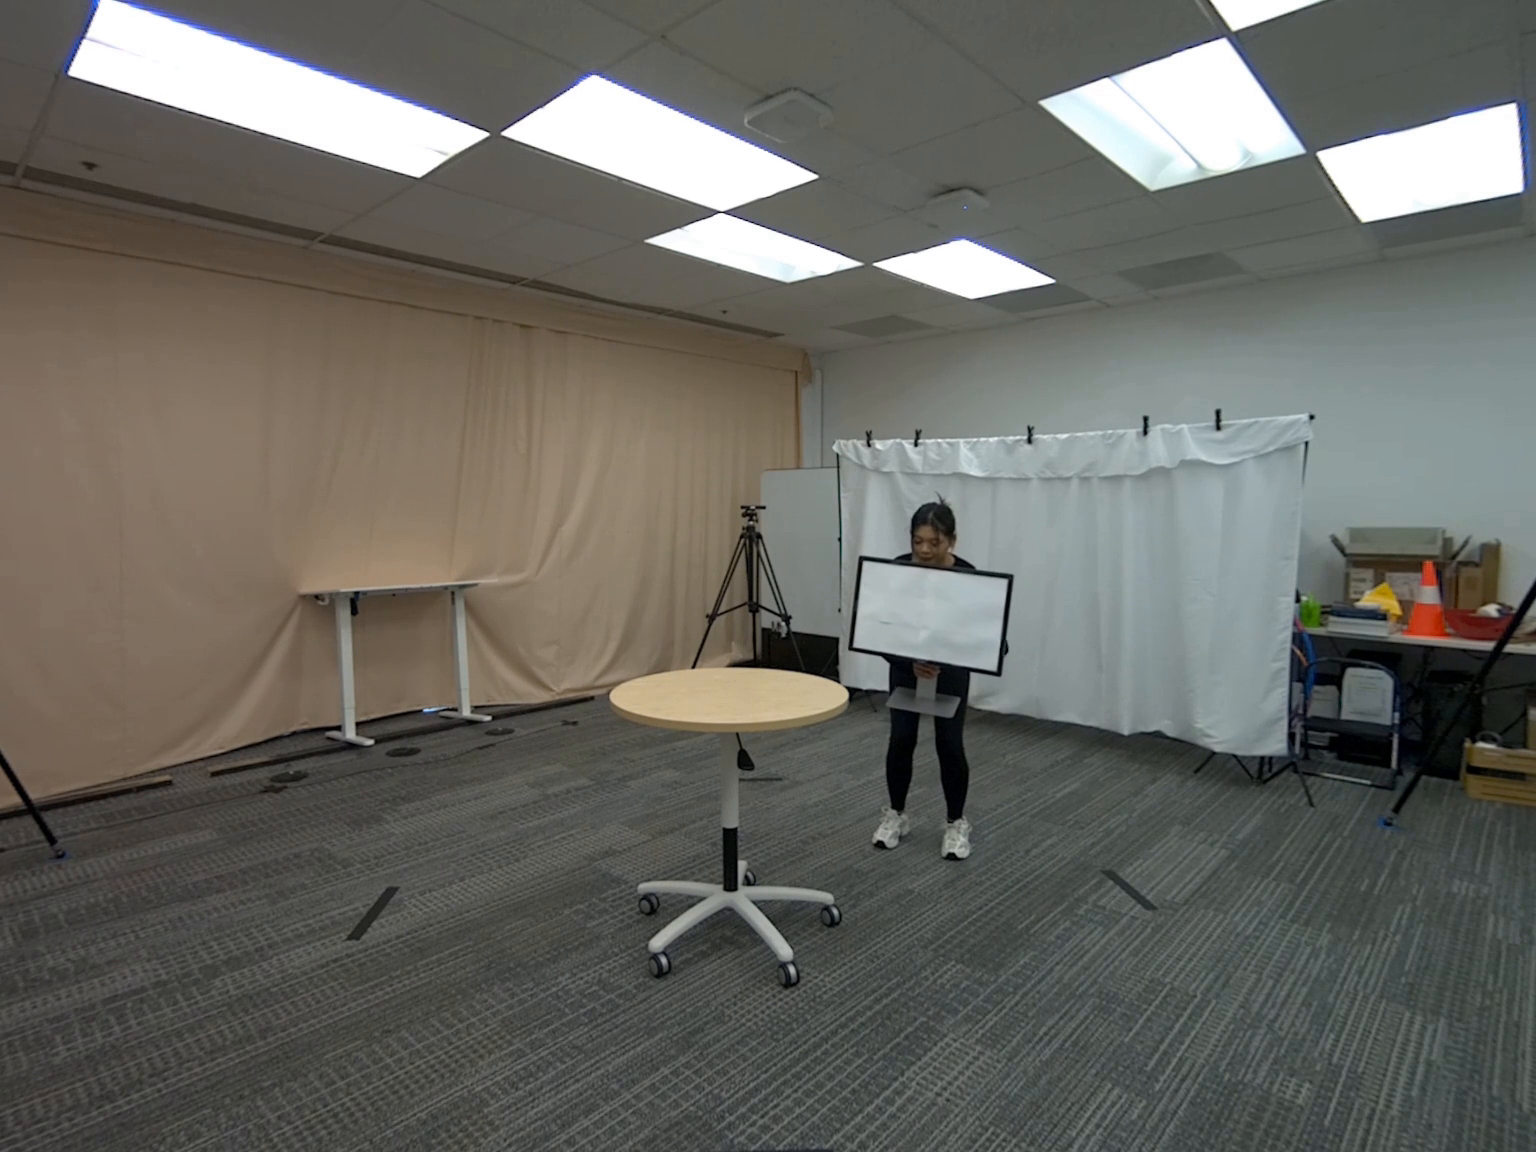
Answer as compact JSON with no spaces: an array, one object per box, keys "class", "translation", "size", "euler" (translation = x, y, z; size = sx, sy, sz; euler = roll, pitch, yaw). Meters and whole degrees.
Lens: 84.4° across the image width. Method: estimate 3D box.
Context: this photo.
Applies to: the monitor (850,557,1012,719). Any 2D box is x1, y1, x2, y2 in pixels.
[{"class":"monitor","translation":[0.596,0.224,3.122],"size":[0.553,0.518,0.184],"euler":[7,14,24]}]
